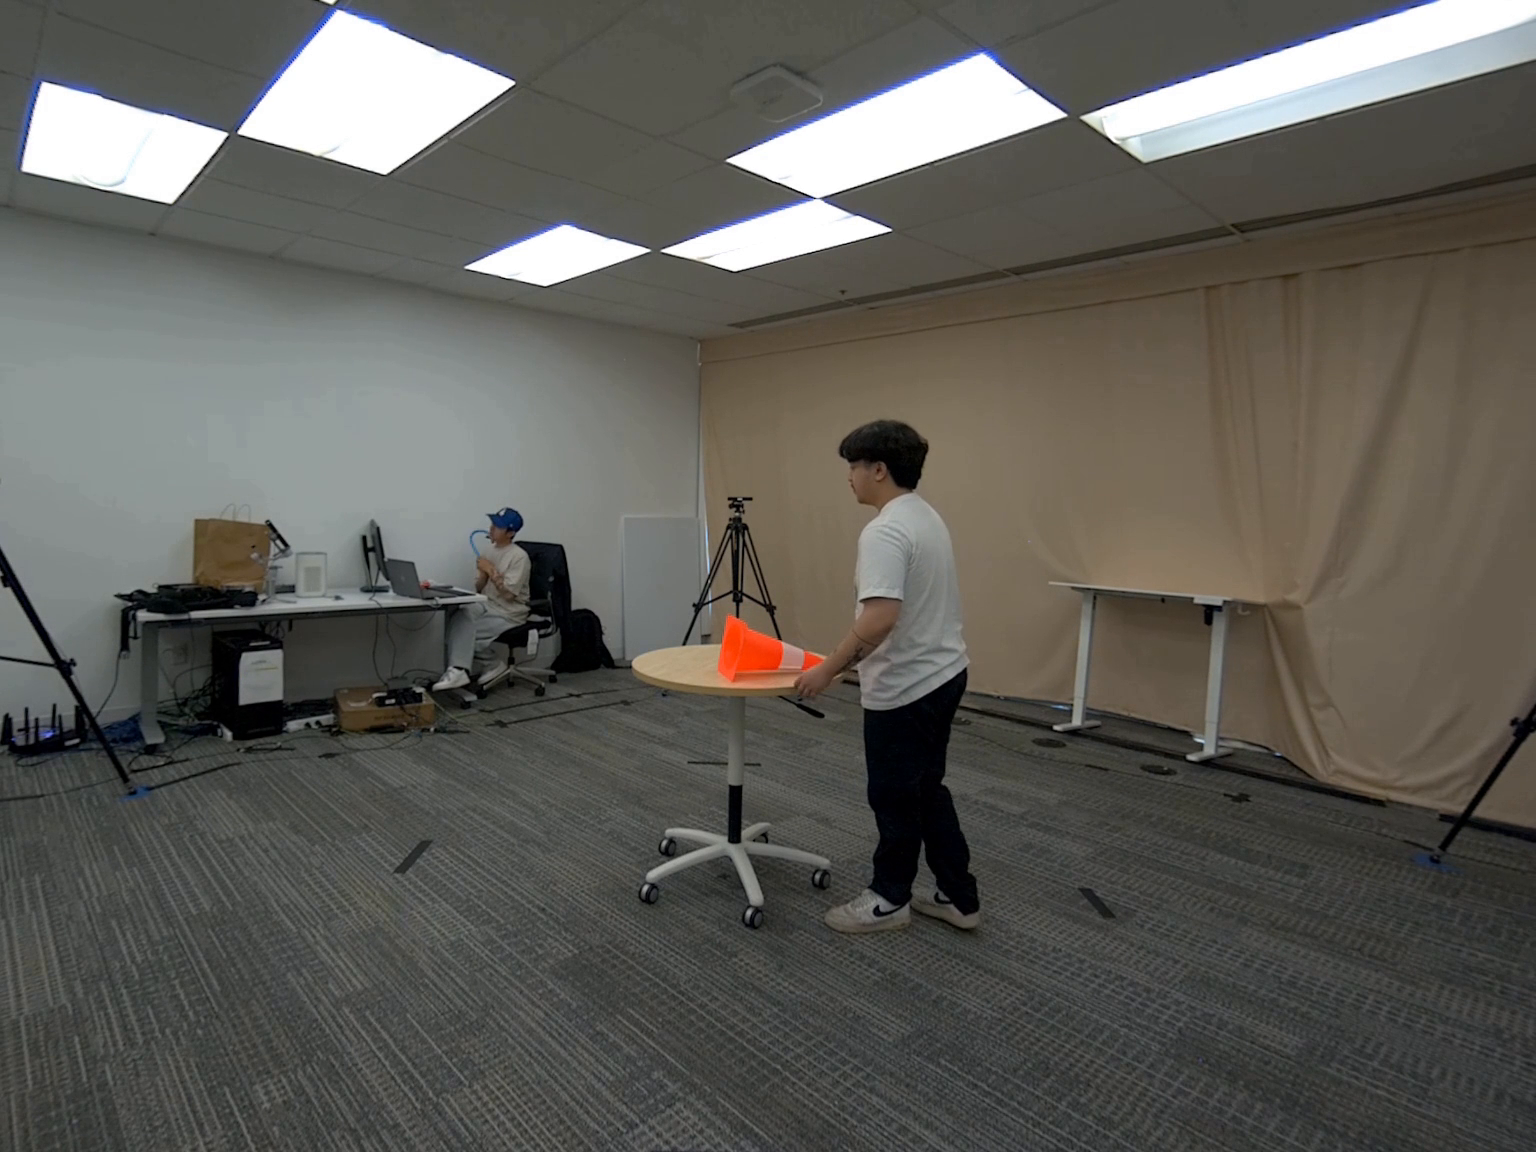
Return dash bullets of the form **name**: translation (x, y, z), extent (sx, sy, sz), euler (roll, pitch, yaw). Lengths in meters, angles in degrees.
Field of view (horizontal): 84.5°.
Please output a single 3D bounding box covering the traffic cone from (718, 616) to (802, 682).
- **traffic cone**: translation (0.048, 0.282, 2.890), extent (0.377, 0.204, 0.208), euler (13, -5, -19)
